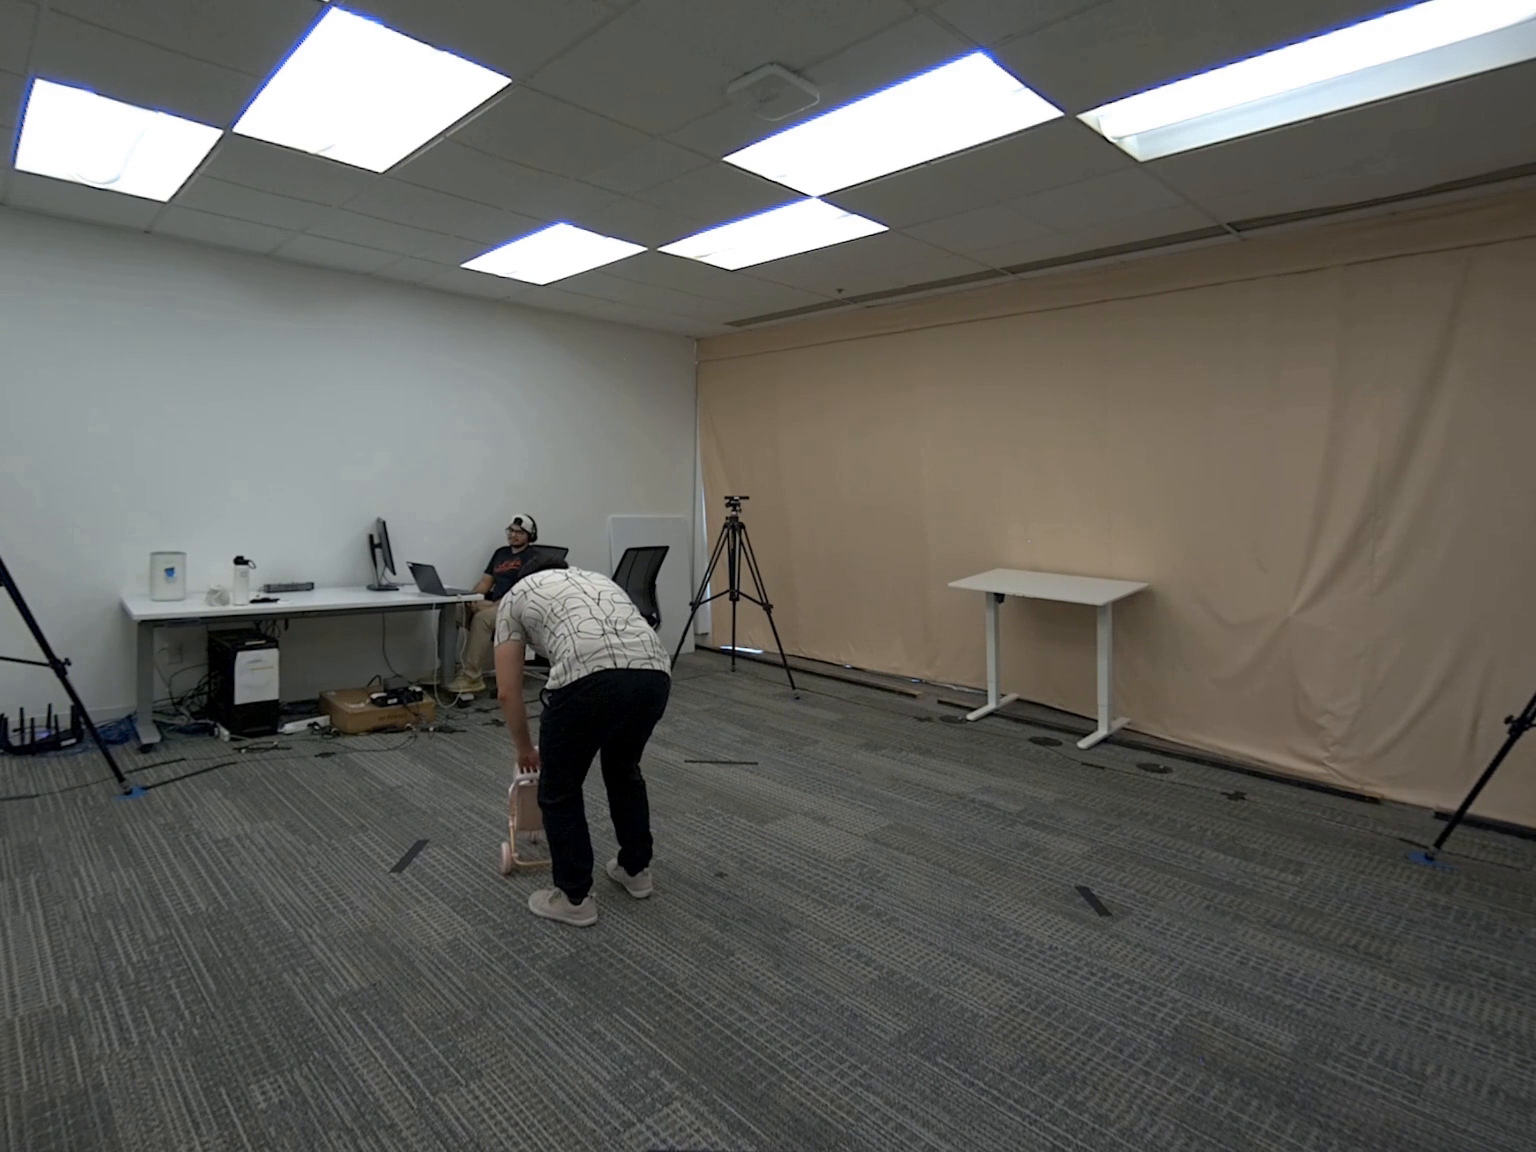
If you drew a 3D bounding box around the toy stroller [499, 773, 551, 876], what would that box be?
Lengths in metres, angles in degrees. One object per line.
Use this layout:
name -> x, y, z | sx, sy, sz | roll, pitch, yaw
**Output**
toy stroller -> -0.862, 0.863, 3.164 | 0.278, 0.528, 0.350 | 1, 22, -17
